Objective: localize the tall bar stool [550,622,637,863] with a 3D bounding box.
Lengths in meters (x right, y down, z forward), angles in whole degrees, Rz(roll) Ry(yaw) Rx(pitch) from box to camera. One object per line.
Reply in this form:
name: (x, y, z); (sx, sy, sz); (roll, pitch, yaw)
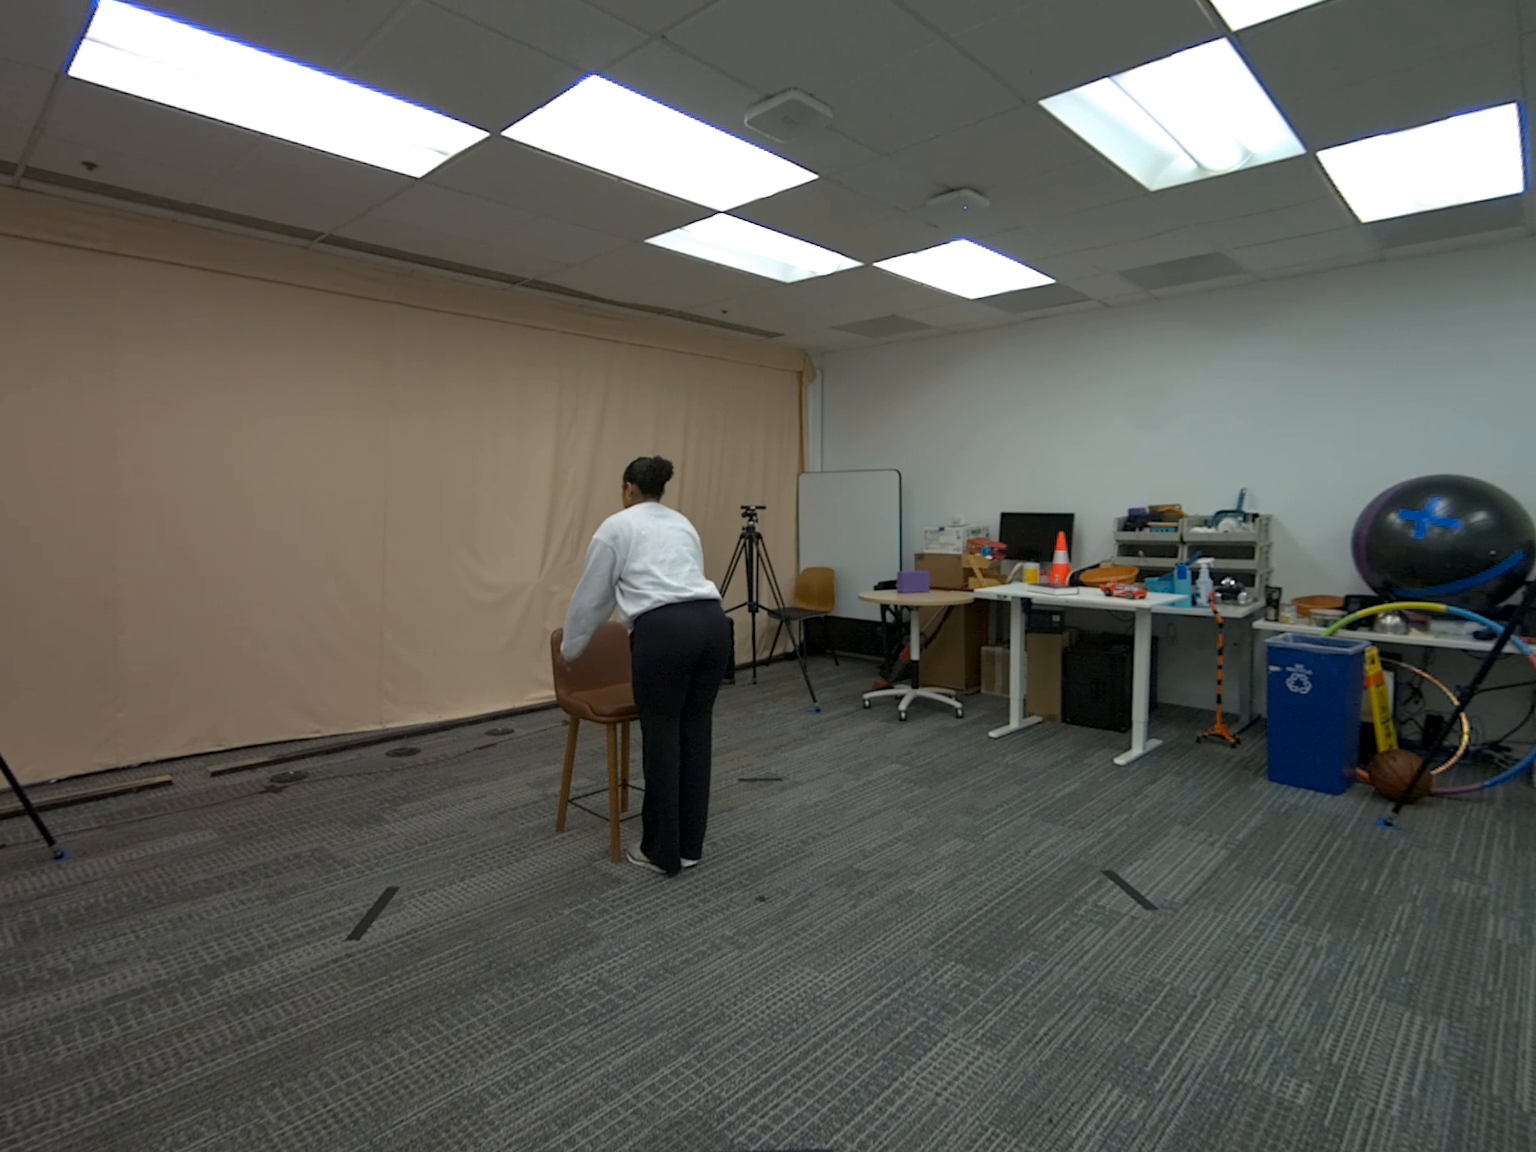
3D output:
tall bar stool: (-0.633, 0.659, 3.573); (0.483, 0.889, 0.442); (0, 3, 45)
